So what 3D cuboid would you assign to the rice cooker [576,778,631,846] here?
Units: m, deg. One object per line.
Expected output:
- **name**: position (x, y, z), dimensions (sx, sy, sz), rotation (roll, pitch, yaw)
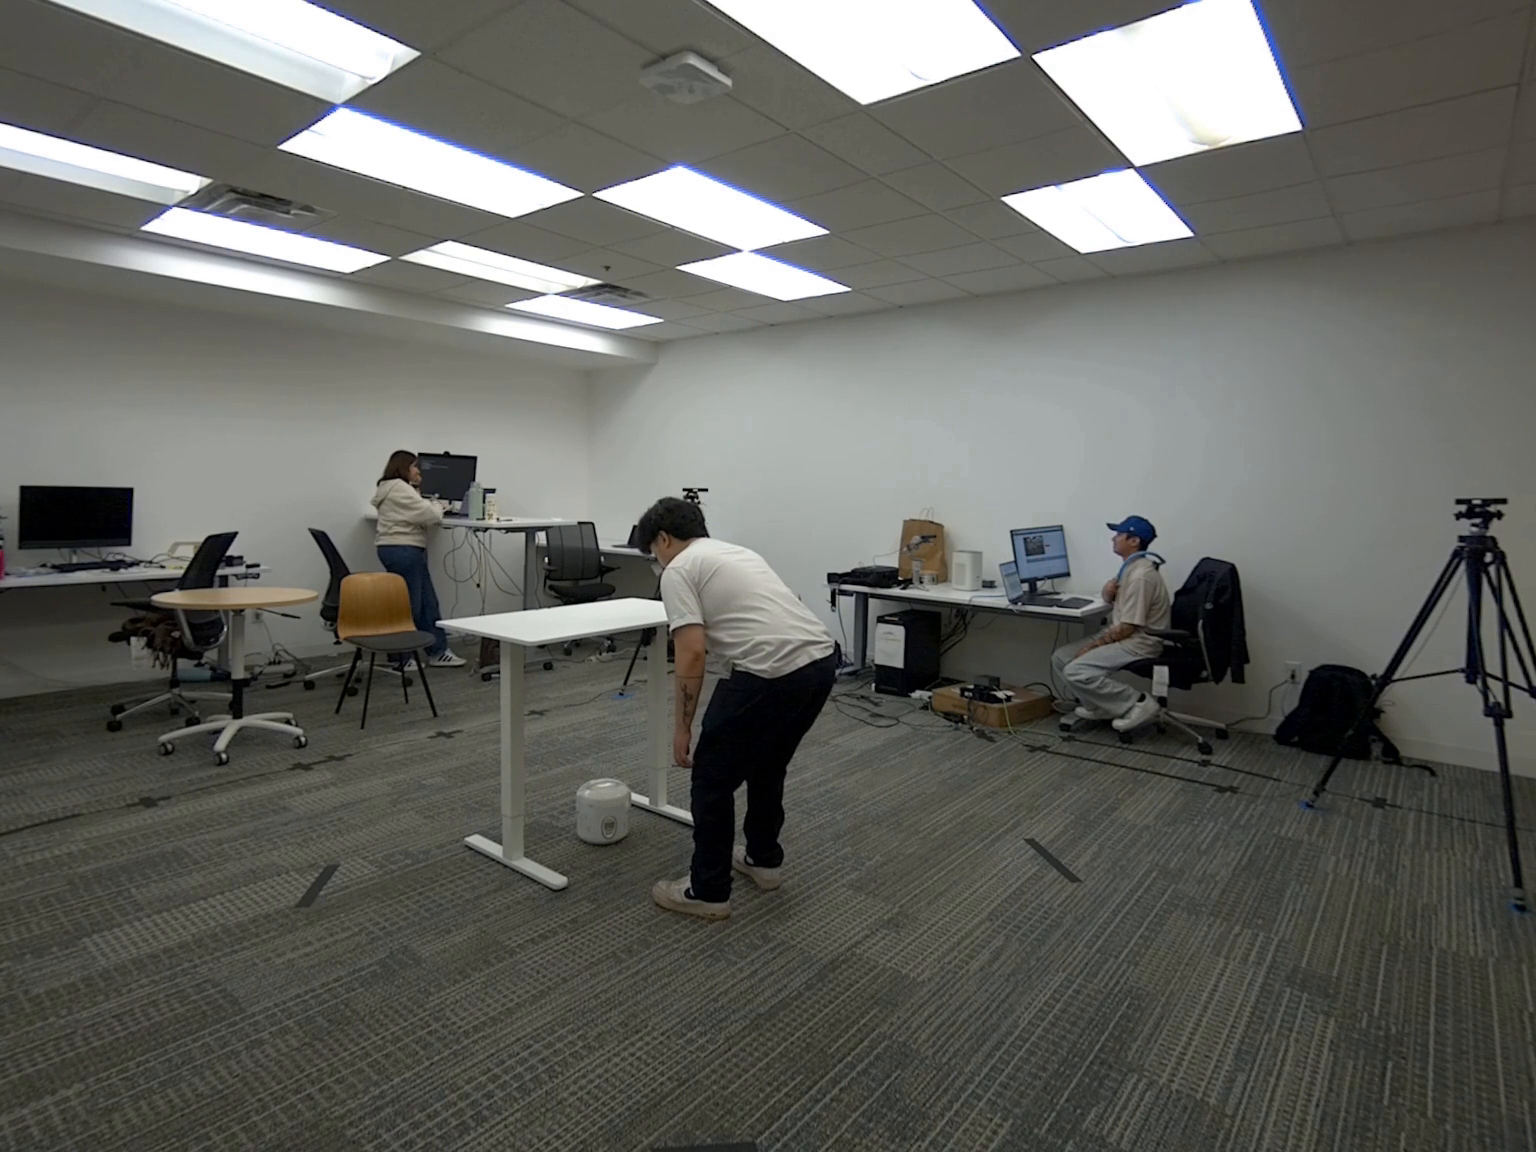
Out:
- **rice cooker**: position (-0.665, 0.920, 3.377), dimensions (0.216, 0.232, 0.223), rotation (0, 3, -22)
